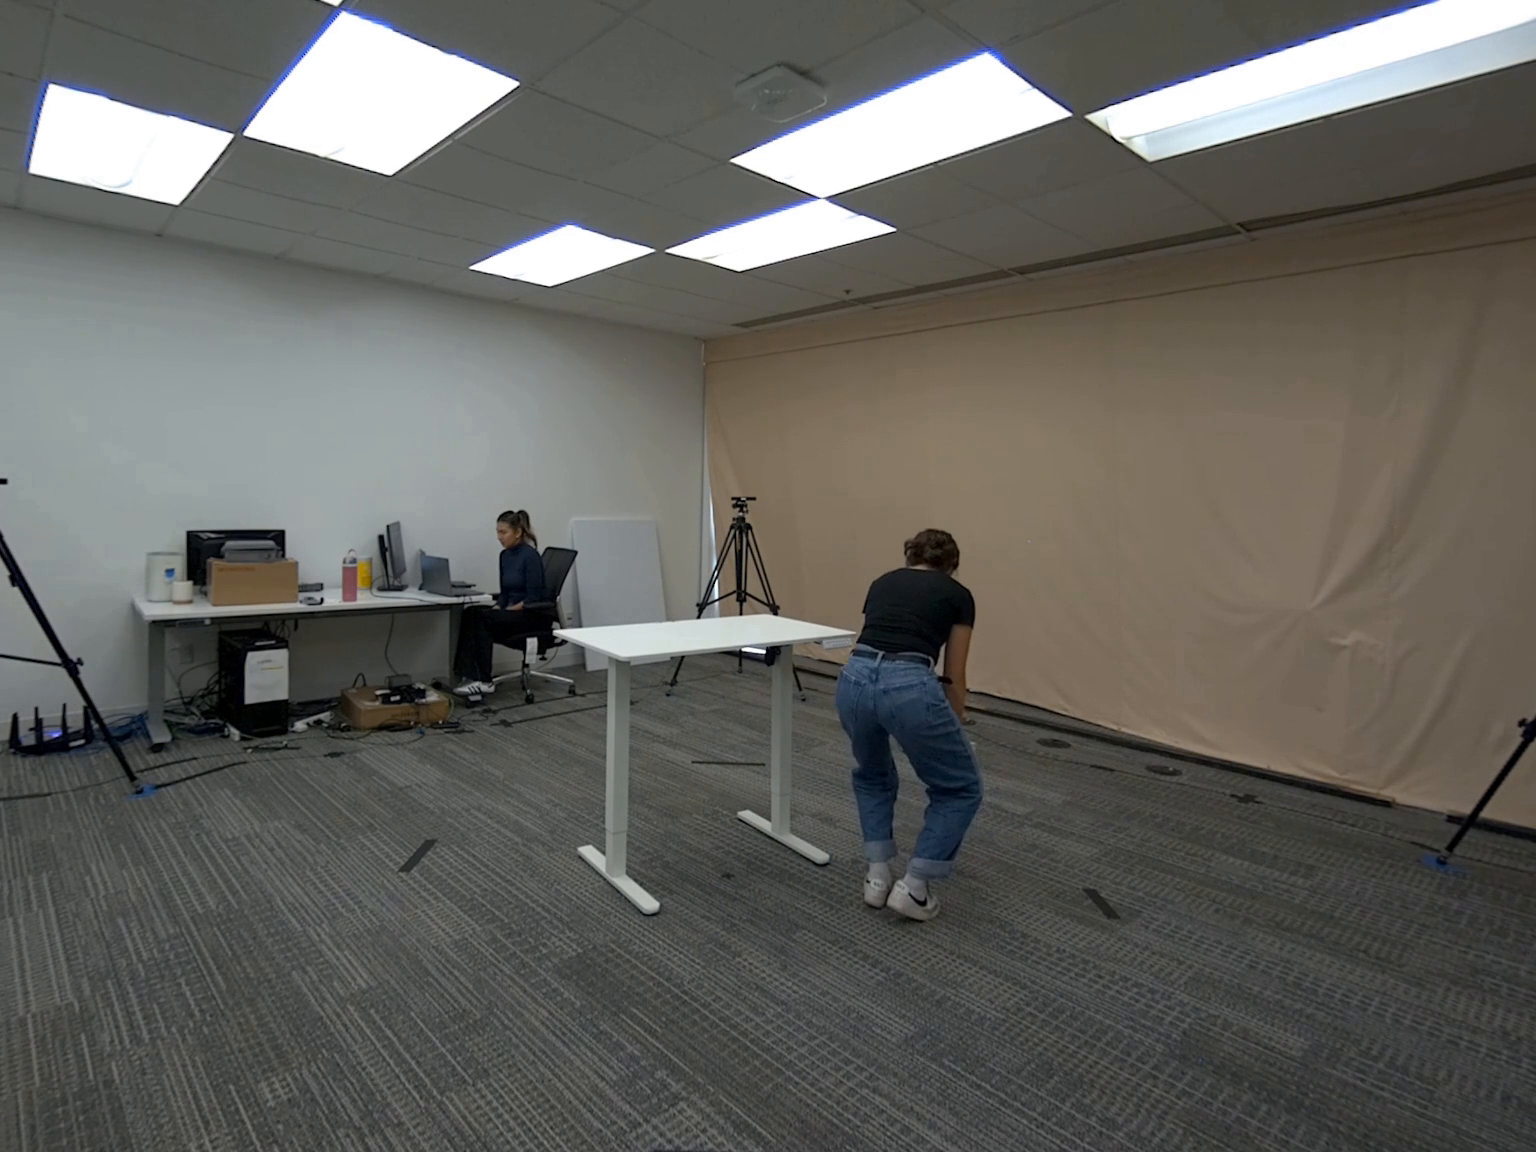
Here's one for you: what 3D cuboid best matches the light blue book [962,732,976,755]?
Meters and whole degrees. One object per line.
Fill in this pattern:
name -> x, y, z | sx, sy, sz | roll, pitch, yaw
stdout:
light blue book -> 0.635, 0.638, 3.134 | 0.196, 0.059, 0.254 | 7, -2, 36
